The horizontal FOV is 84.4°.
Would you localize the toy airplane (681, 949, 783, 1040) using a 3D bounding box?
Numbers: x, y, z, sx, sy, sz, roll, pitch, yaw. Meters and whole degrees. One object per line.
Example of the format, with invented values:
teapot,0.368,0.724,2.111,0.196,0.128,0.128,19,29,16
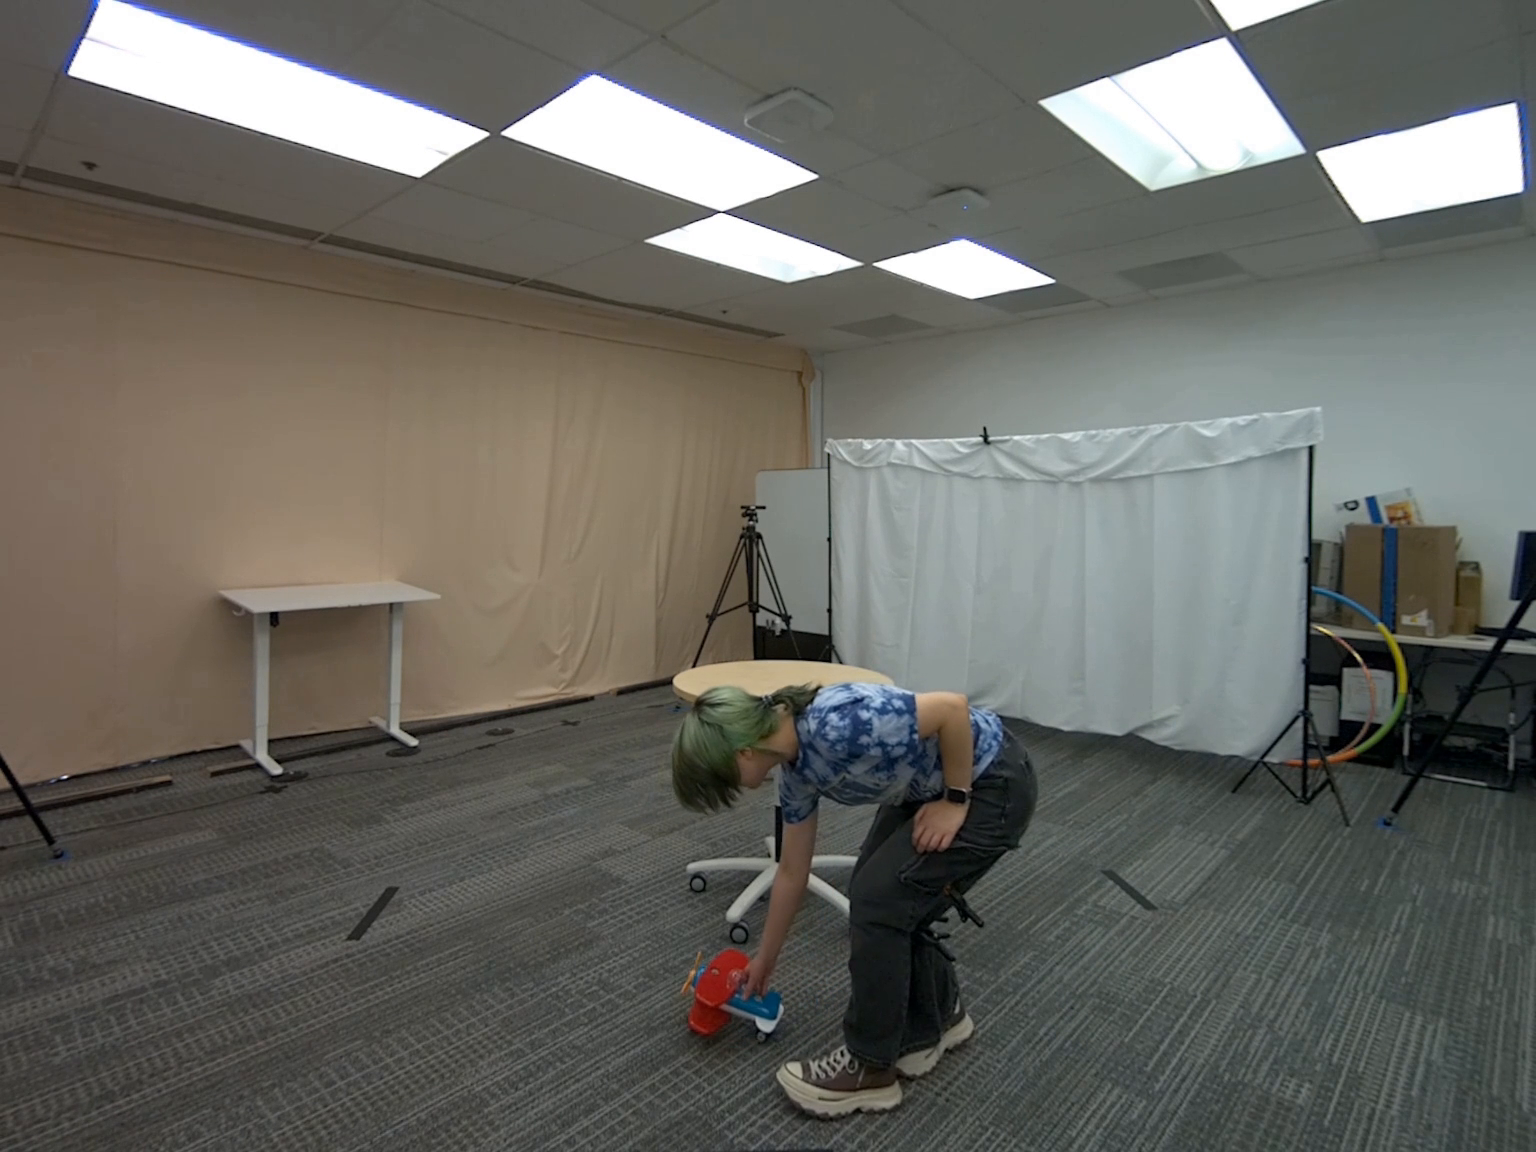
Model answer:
toy airplane,-0.084,1.138,2.252,0.257,0.156,0.254,0,6,-8
